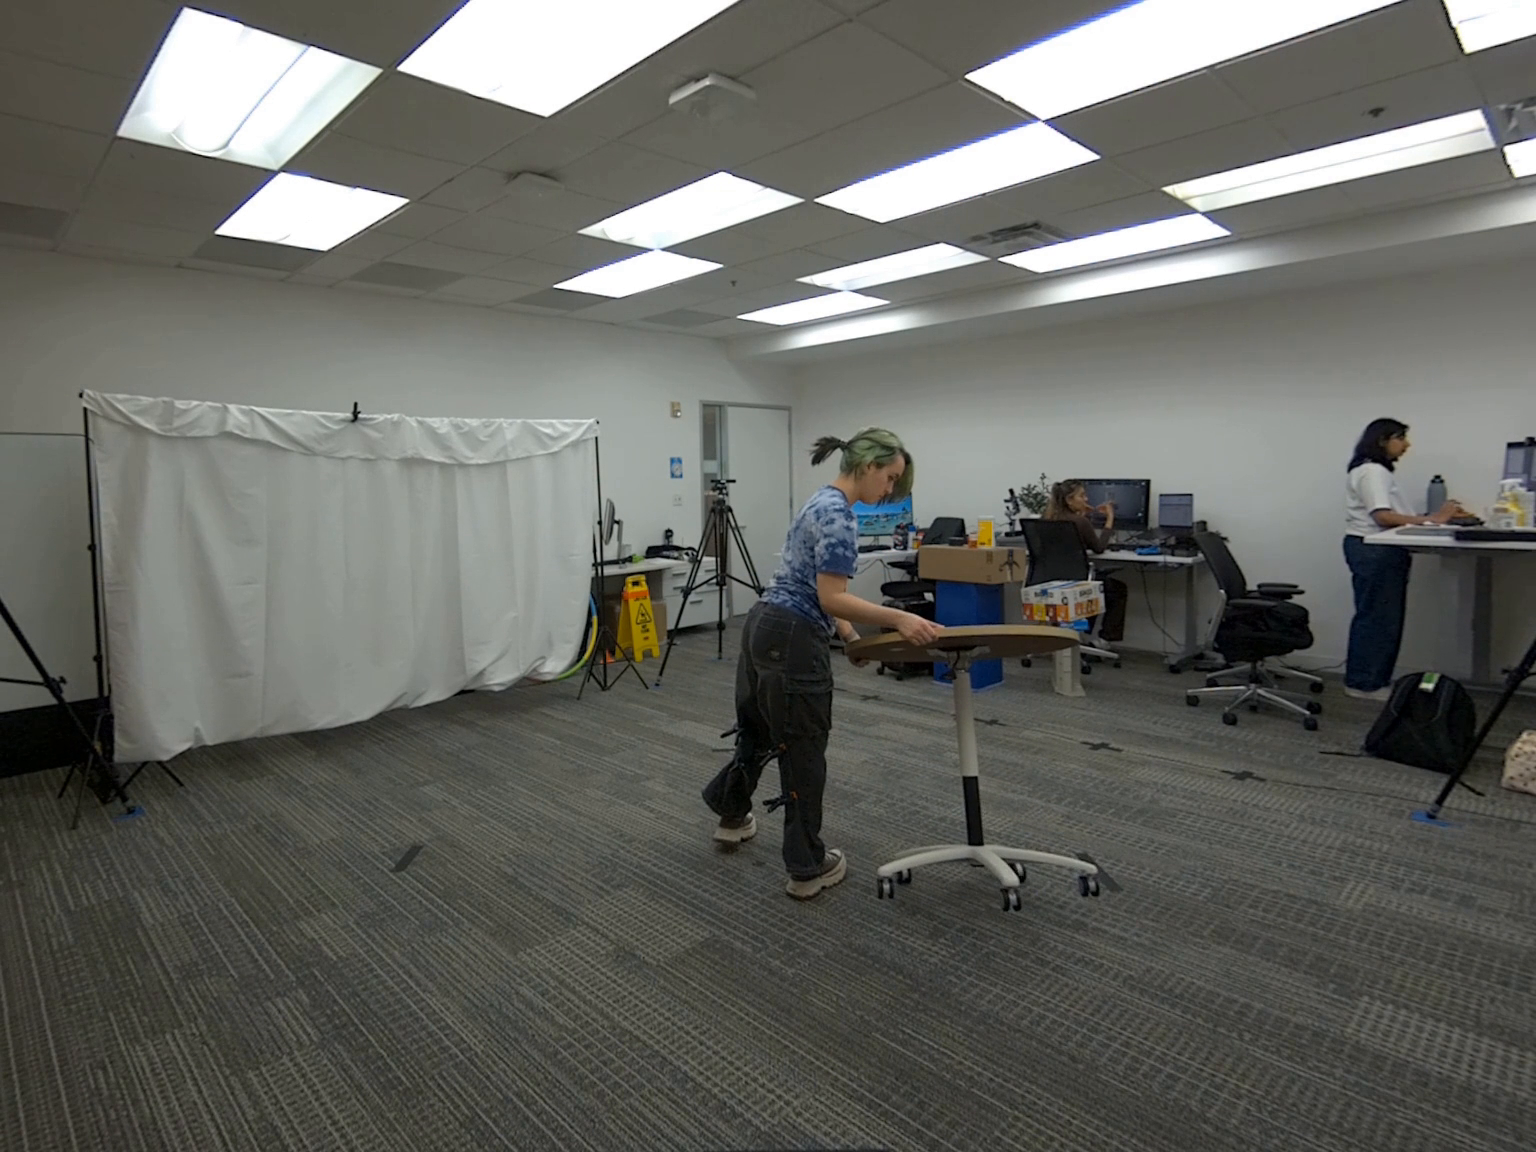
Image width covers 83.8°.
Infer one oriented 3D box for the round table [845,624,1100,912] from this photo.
[{"bbox_3d":[0.666,0.616,2.790,0.763,0.804,0.755,-1,-13,-2],"label":"round table"}]
